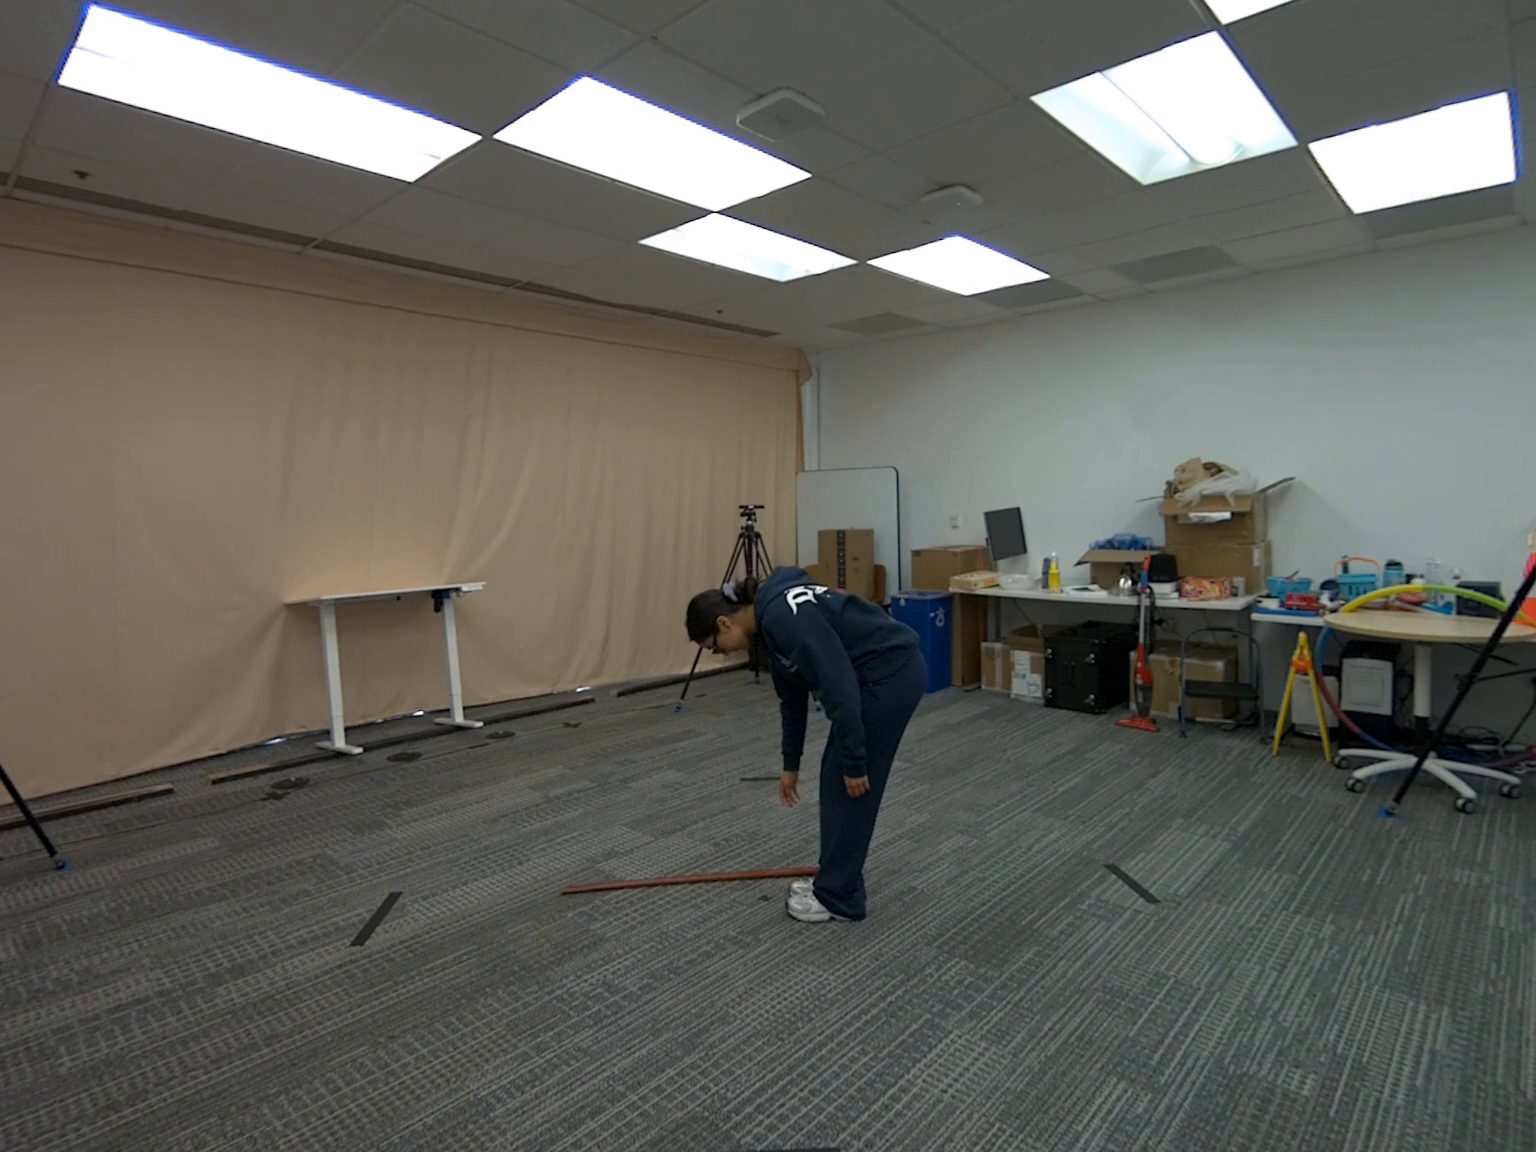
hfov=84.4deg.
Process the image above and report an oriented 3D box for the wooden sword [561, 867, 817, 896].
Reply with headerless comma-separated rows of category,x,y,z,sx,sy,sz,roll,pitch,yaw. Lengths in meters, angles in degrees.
wooden sword,-0.251,1.120,3.126,1.016,0.052,0.024,-2,-23,-8
